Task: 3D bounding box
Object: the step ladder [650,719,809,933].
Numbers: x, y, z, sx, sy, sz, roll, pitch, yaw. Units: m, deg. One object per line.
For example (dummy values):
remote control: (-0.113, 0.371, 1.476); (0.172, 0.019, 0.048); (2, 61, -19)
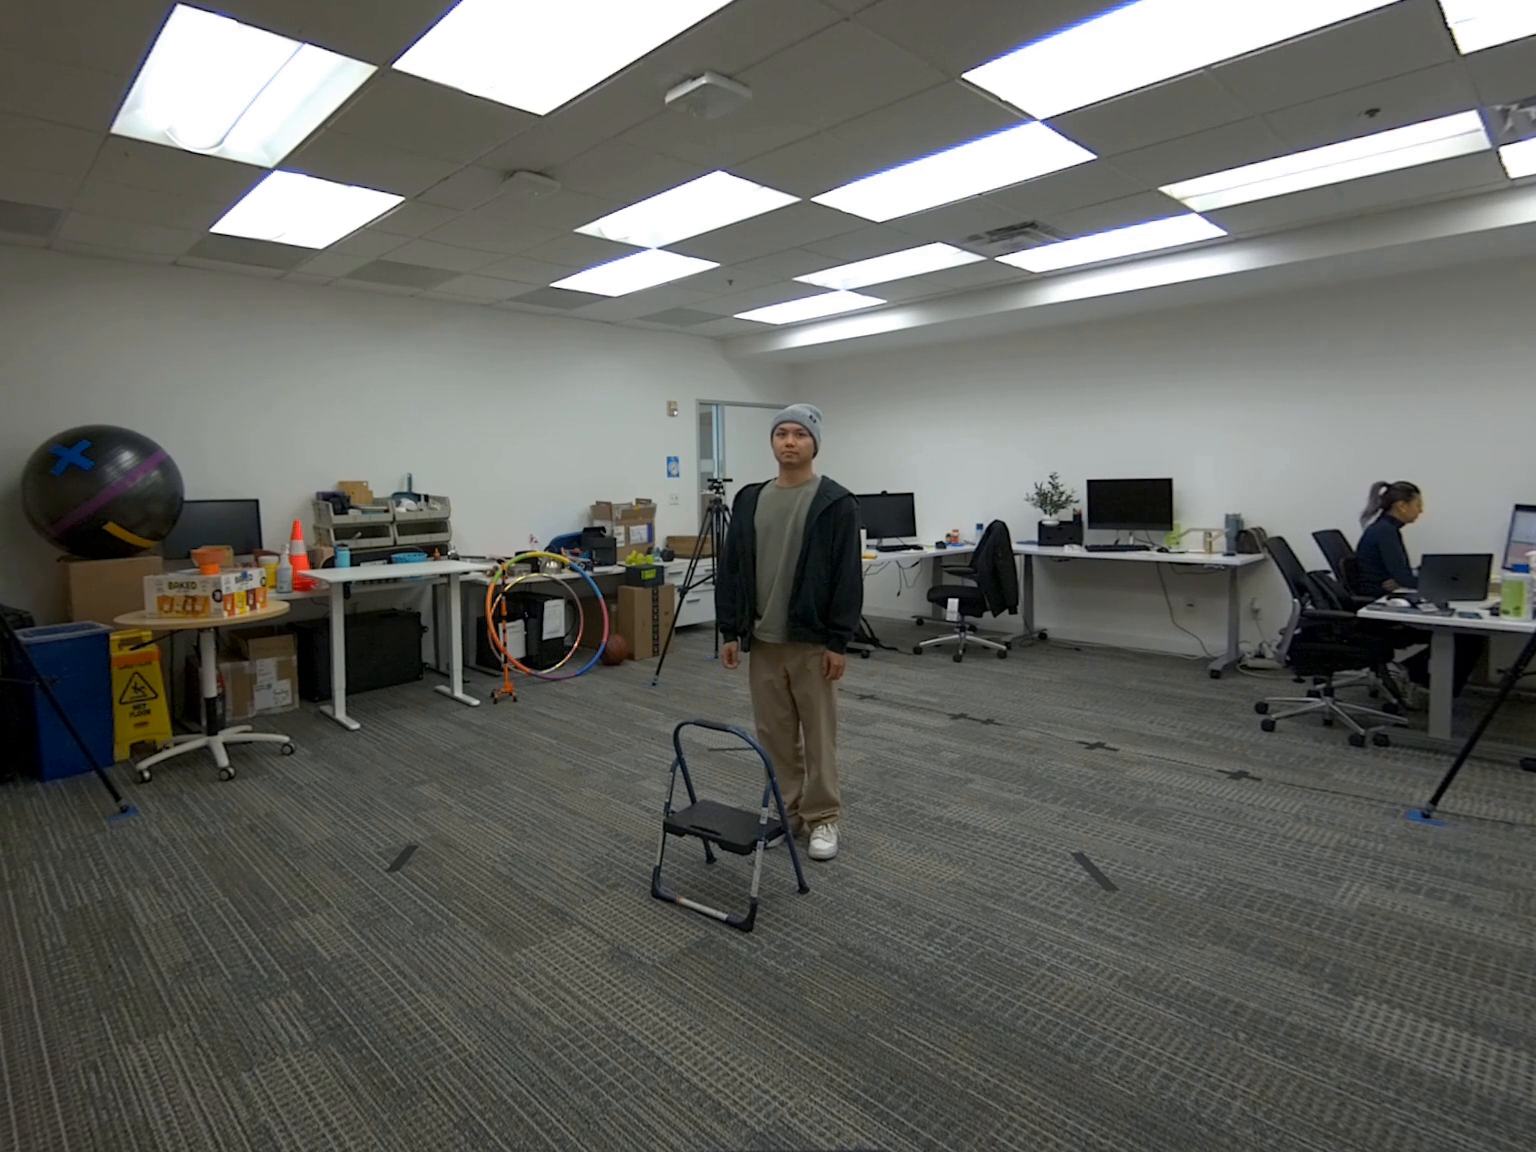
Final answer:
step ladder: (-0.136, 0.772, 2.865); (0.443, 0.604, 0.341); (2, 5, 35)
